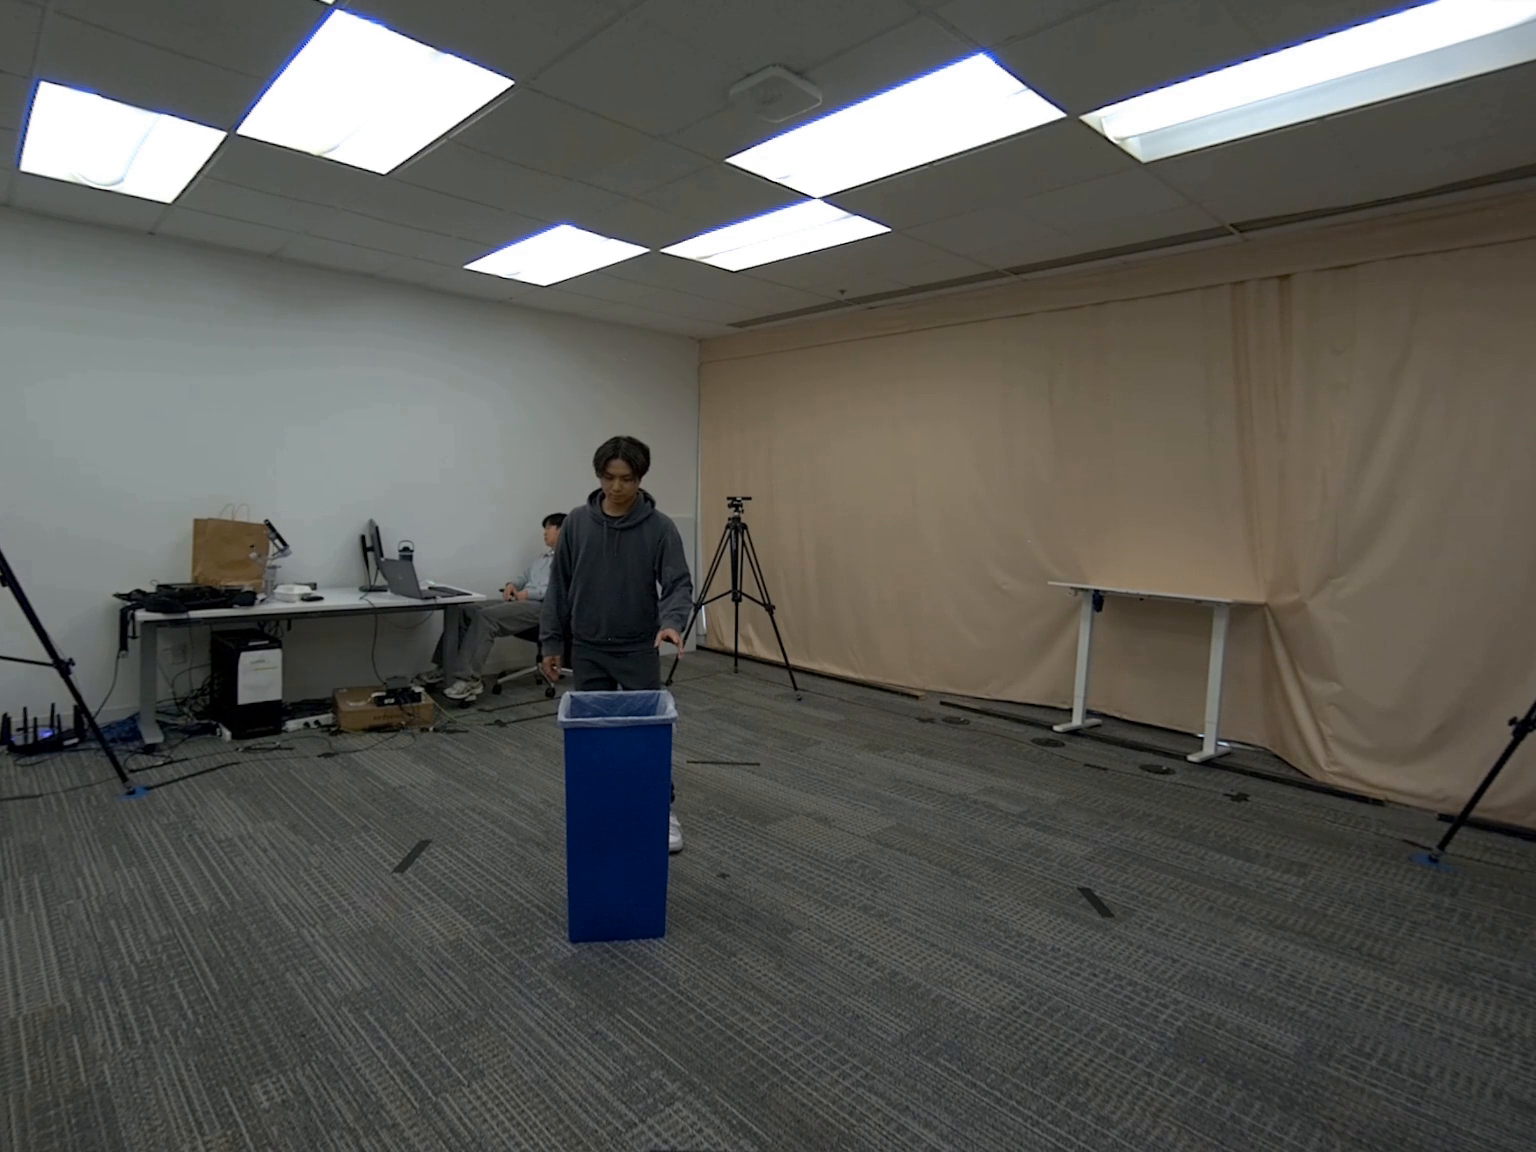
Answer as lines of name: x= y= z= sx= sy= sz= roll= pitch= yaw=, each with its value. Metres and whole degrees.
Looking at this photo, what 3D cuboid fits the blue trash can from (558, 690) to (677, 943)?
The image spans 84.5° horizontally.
blue trash can: x=-0.504 y=0.772 z=2.755 sx=0.371 sy=0.712 sz=0.382 roll=1 pitch=3 yaw=-10
